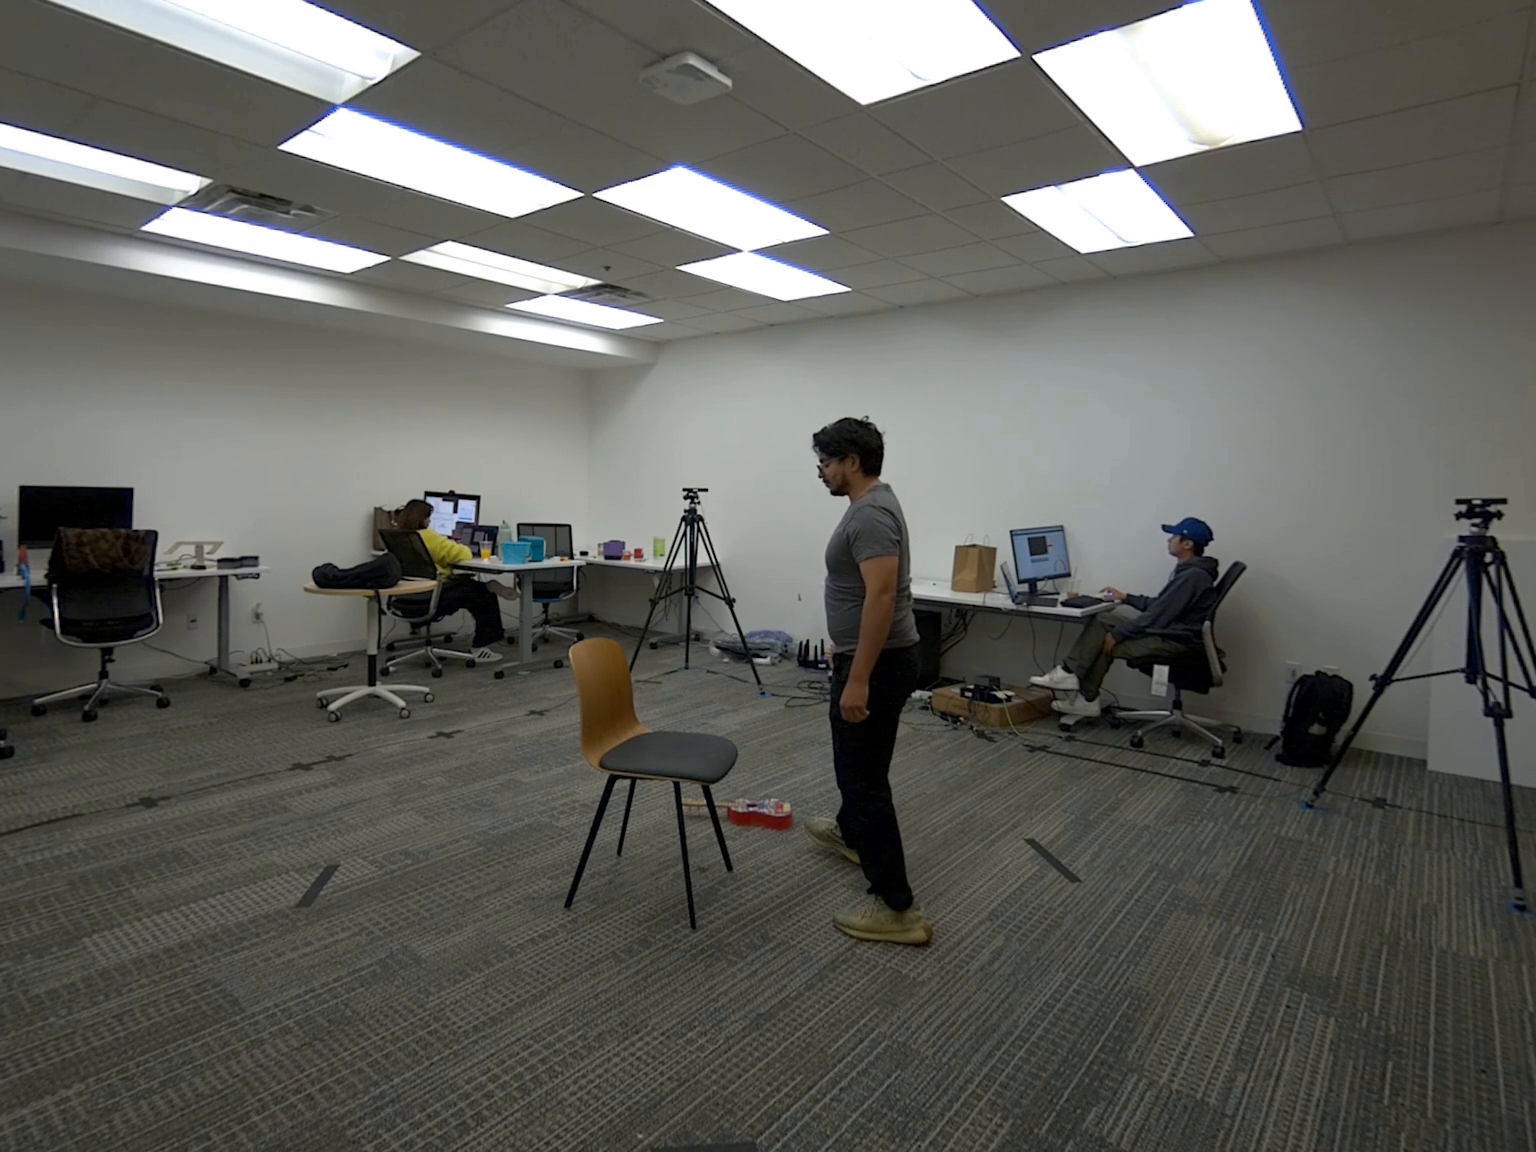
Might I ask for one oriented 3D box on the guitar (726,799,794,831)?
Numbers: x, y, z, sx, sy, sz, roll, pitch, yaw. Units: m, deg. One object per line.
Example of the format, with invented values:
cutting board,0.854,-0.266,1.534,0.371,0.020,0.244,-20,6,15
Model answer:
guitar,-0.148,0.988,3.627,0.505,0.070,0.191,3,6,13
